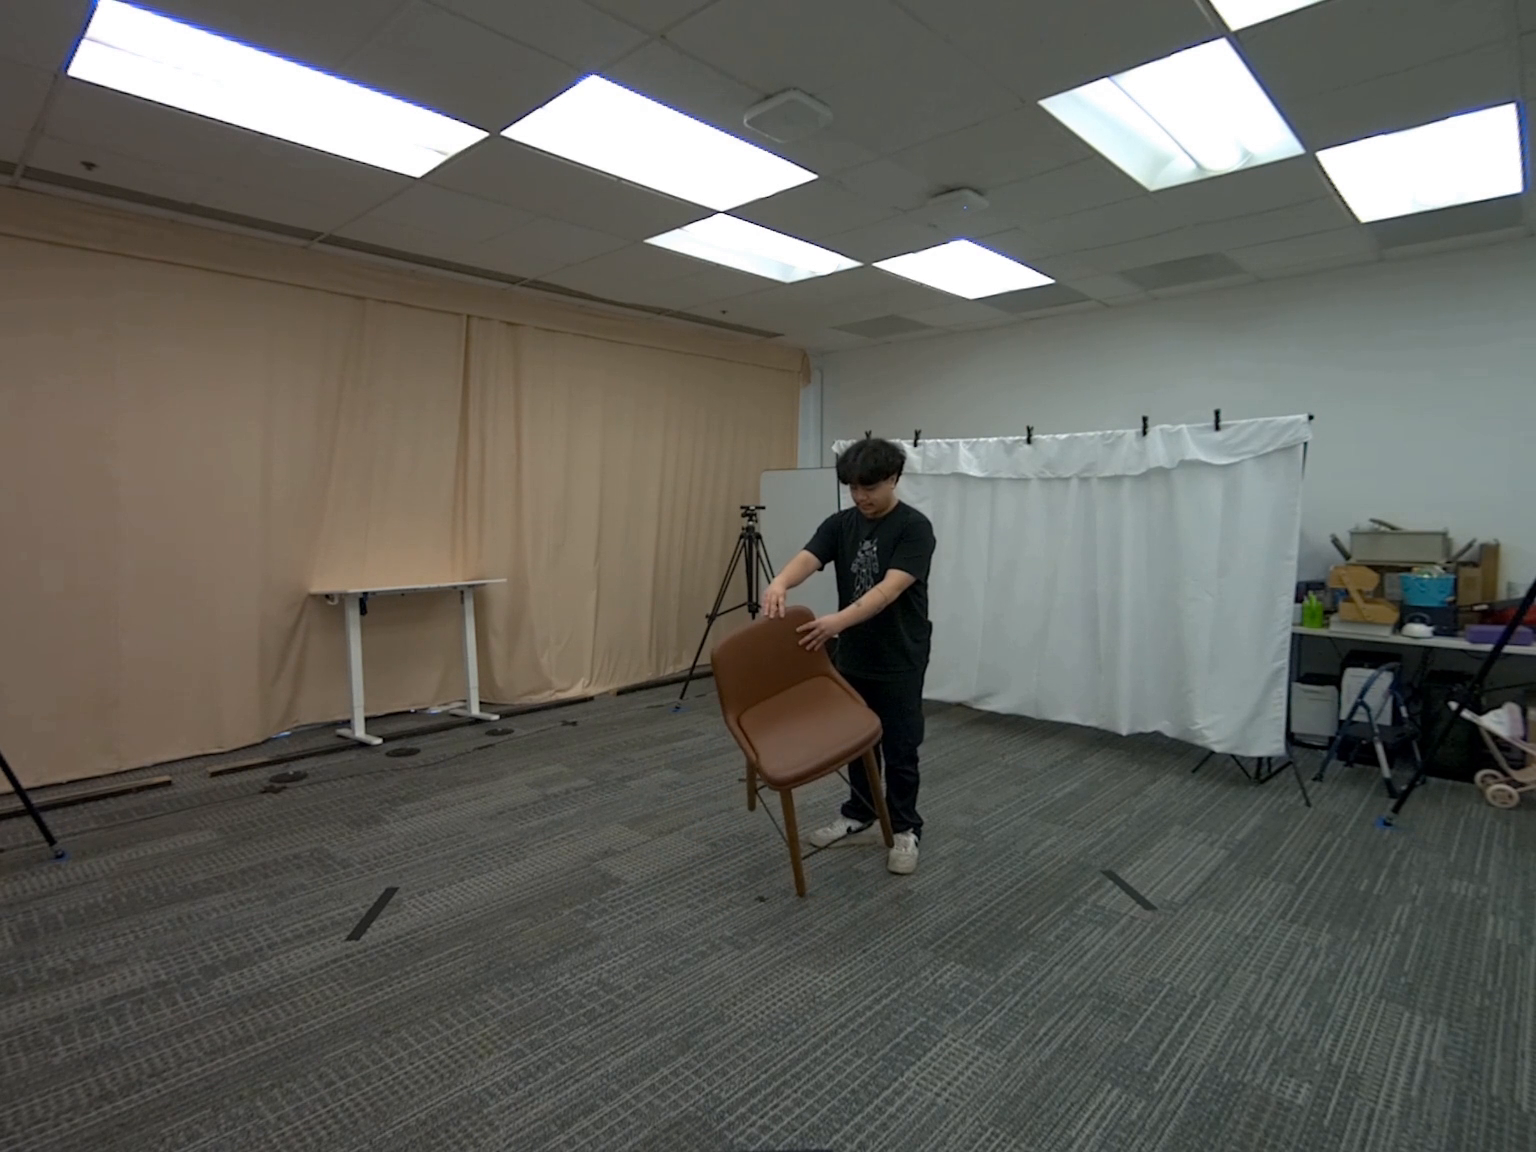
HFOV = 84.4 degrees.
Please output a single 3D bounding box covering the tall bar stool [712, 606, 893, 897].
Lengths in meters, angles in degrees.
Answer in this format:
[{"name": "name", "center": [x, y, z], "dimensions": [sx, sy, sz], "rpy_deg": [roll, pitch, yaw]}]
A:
[{"name": "tall bar stool", "center": [0.127, 0.619, 2.987], "dimensions": [0.450, 0.870, 0.484], "rpy_deg": [-22, 35, -18]}]
